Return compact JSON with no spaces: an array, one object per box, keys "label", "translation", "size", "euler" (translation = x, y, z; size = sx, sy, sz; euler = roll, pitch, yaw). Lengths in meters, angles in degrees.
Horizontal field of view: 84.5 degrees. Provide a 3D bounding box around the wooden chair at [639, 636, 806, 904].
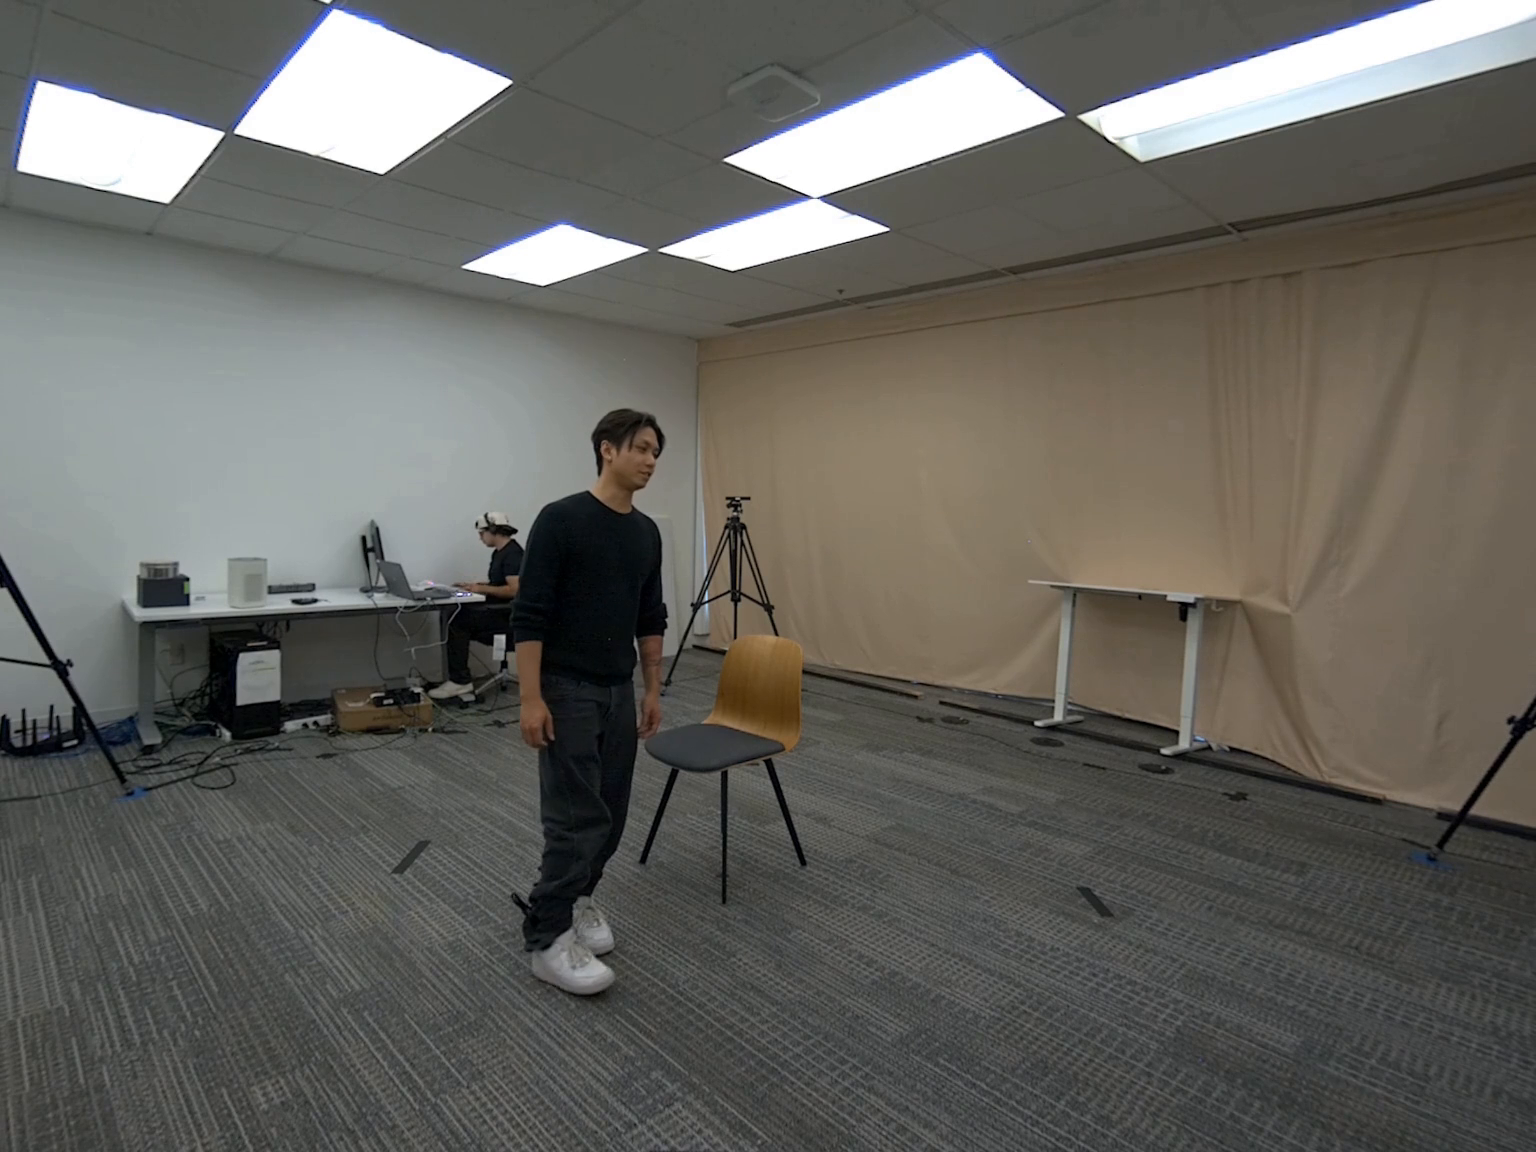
[{"label":"wooden chair","translation":[-0.169,0.673,3.160],"size":[0.490,0.877,0.510],"euler":[5,0,43]}]
